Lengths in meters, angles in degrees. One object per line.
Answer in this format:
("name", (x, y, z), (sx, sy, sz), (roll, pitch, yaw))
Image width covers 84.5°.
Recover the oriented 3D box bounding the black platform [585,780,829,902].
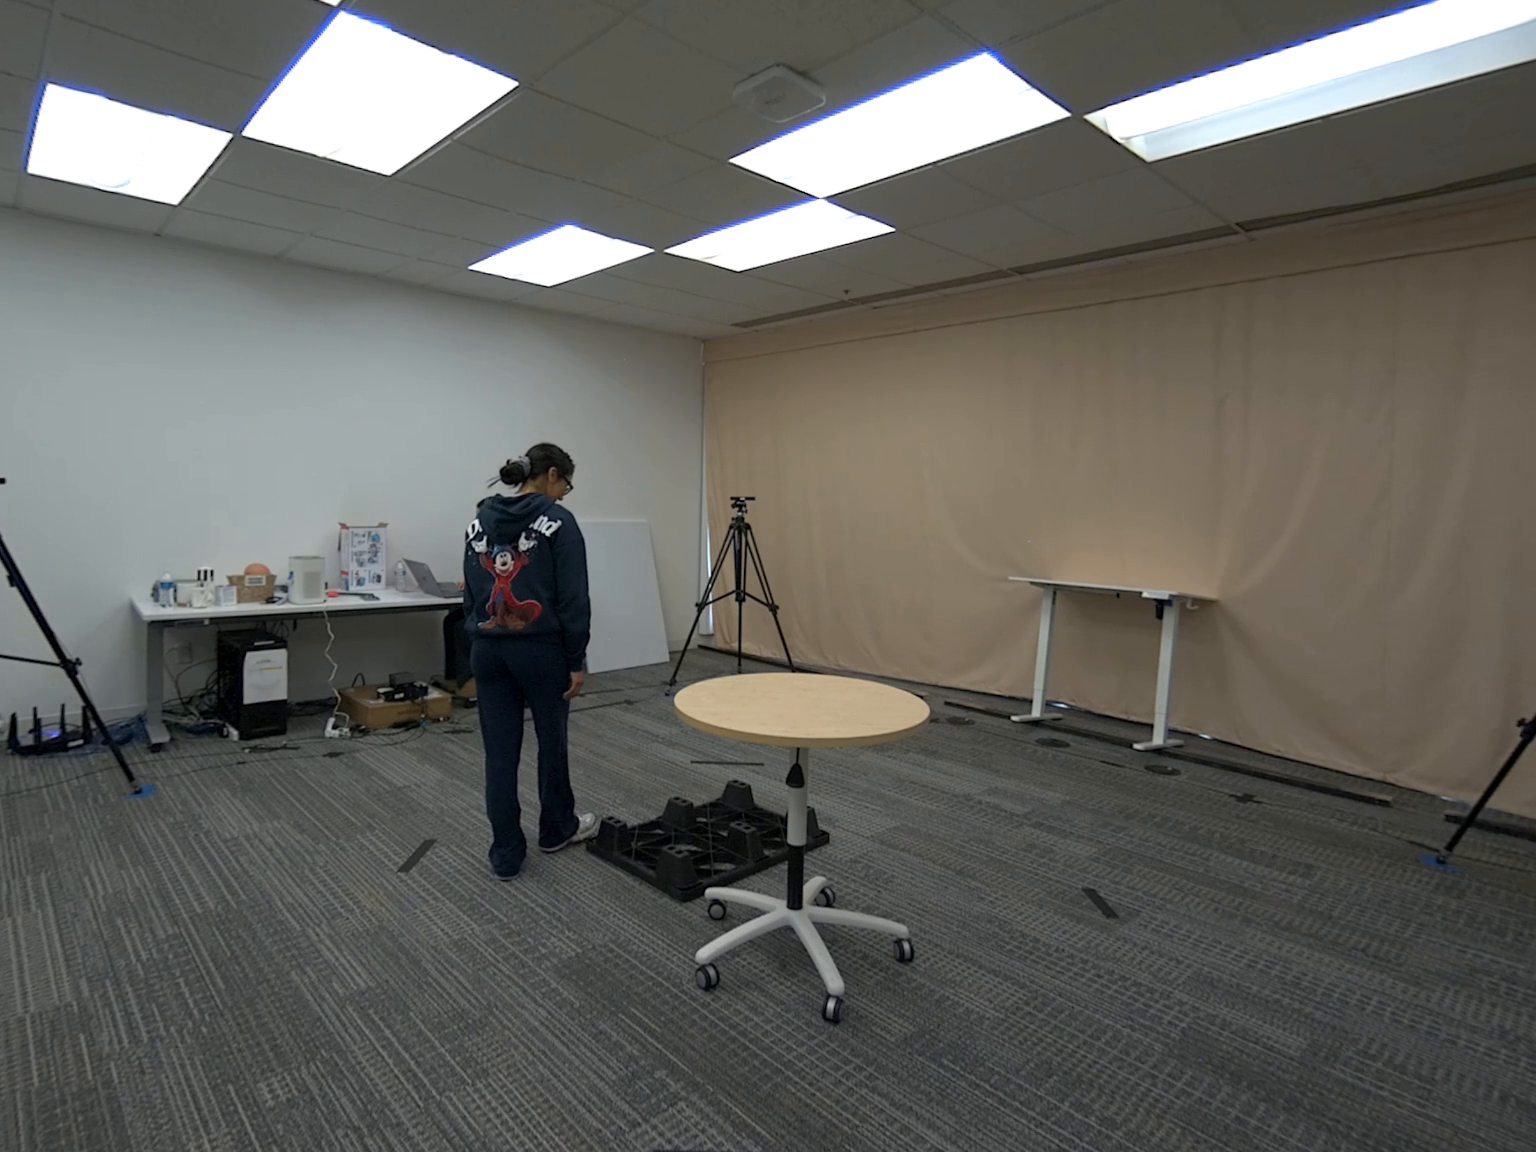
("black platform", (-0.235, 1.017, 3.360), (0.620, 0.143, 0.787), (5, 7, 44))
